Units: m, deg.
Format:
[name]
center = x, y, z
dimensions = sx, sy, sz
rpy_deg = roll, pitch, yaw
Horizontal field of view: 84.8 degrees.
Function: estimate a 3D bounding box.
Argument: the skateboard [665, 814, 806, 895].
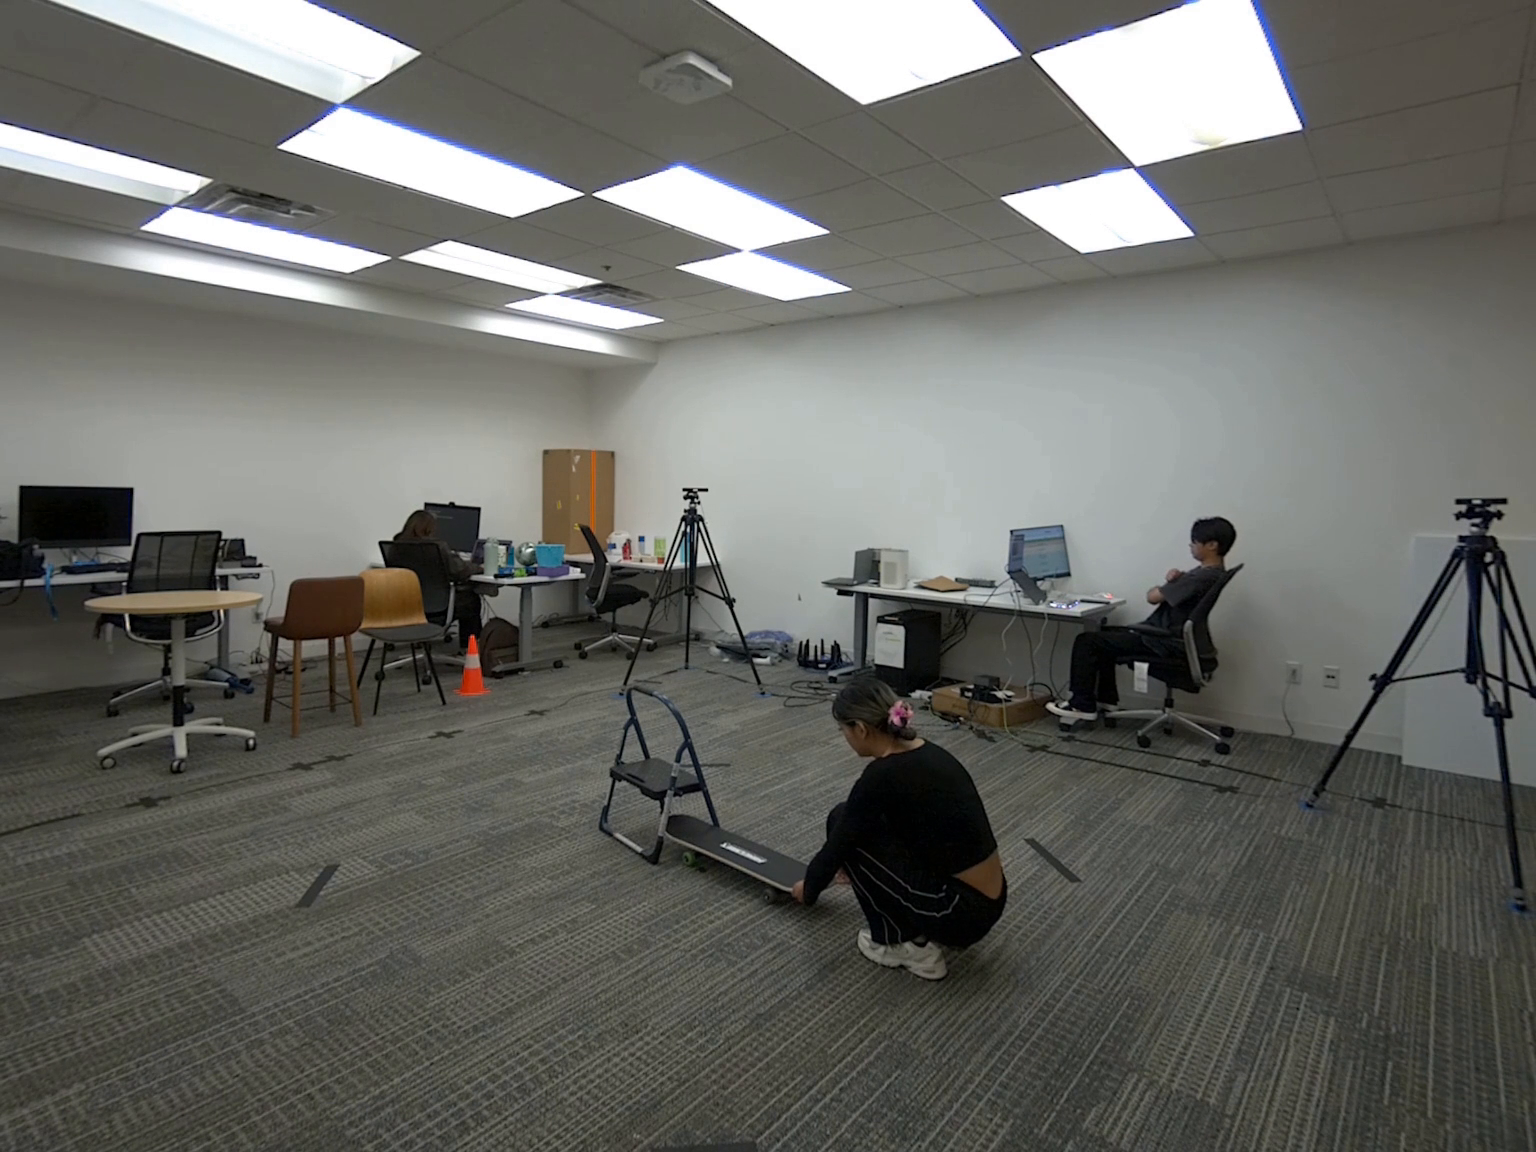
[skateboard]
center = -0.106, 1.015, 3.050
dimensions = 0.813, 0.110, 0.188
rpy_deg = 7, 8, 43
